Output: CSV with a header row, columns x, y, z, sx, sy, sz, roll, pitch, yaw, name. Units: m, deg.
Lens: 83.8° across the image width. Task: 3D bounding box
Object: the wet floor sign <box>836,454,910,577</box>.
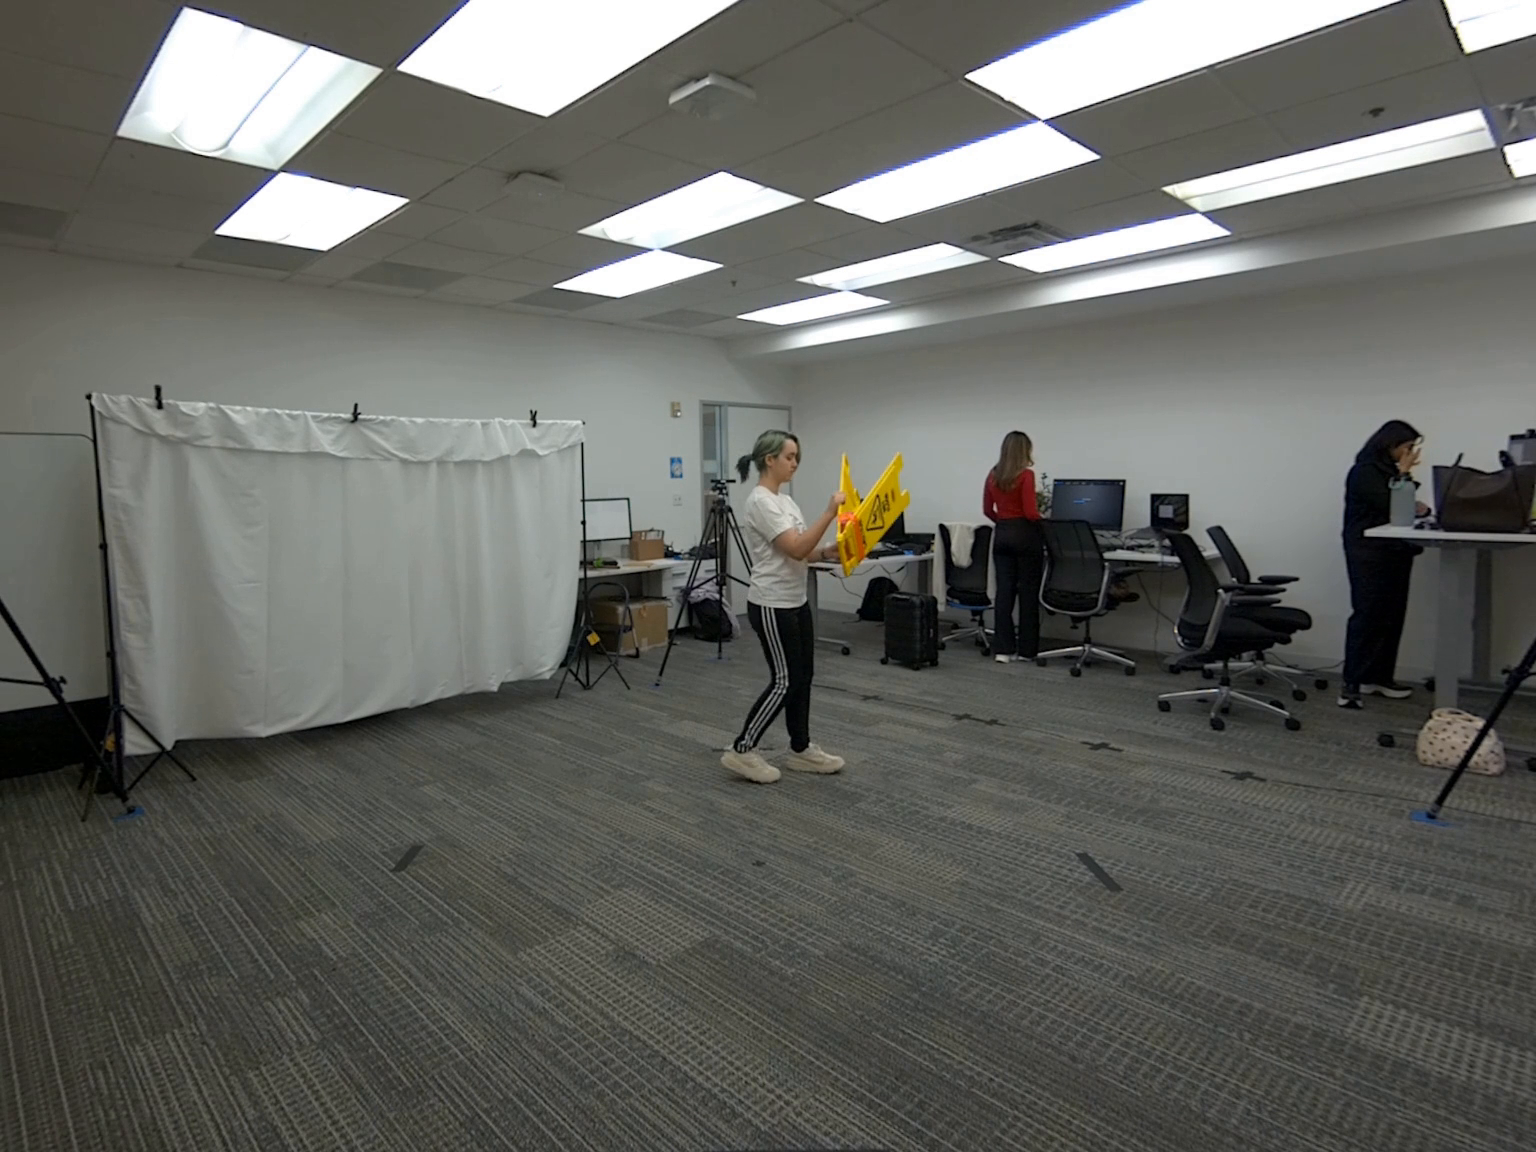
x,y,z,sx,sy,sz,roll,pitch,yaw,name
0.414,-0.270,3.863,0.296,0.273,0.652,0,38,24,wet floor sign
